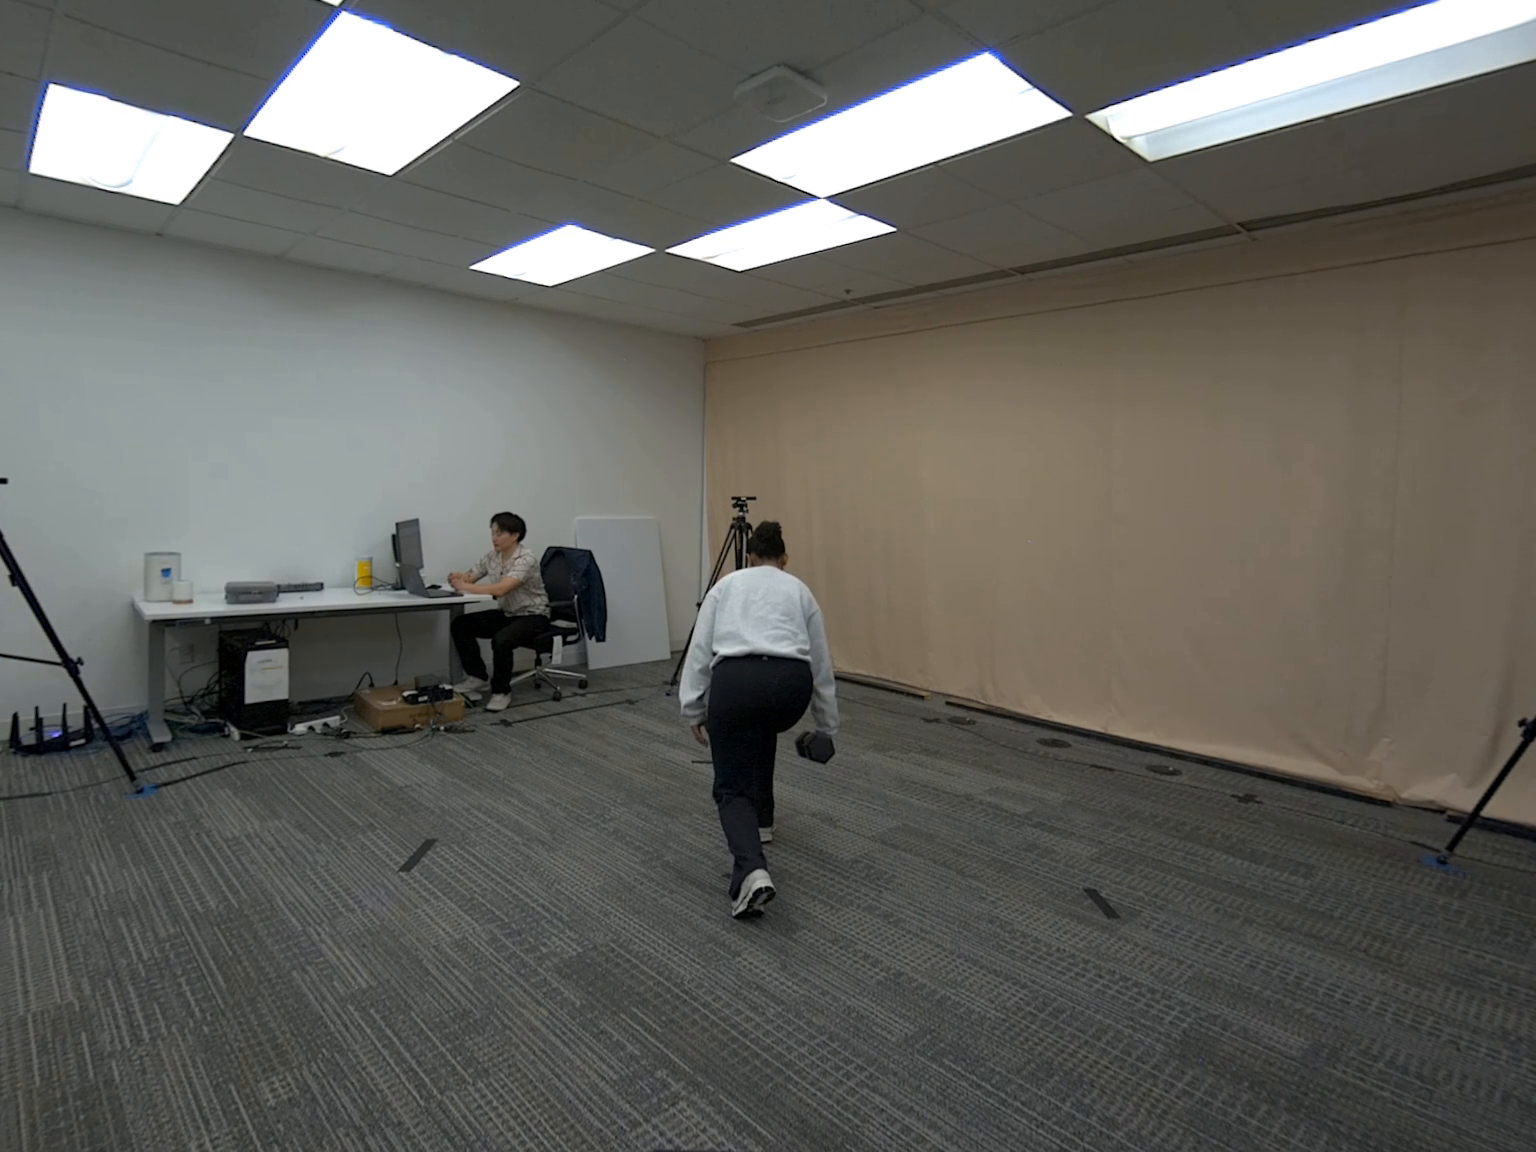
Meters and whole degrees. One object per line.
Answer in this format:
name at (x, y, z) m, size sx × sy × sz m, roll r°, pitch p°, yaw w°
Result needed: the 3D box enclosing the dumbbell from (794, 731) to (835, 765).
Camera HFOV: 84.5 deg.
dumbbell at (0.176, 0.691, 3.439) m, size 0.108 × 0.124 × 0.293 m, roll -15°, pitch -5°, yaw -10°
